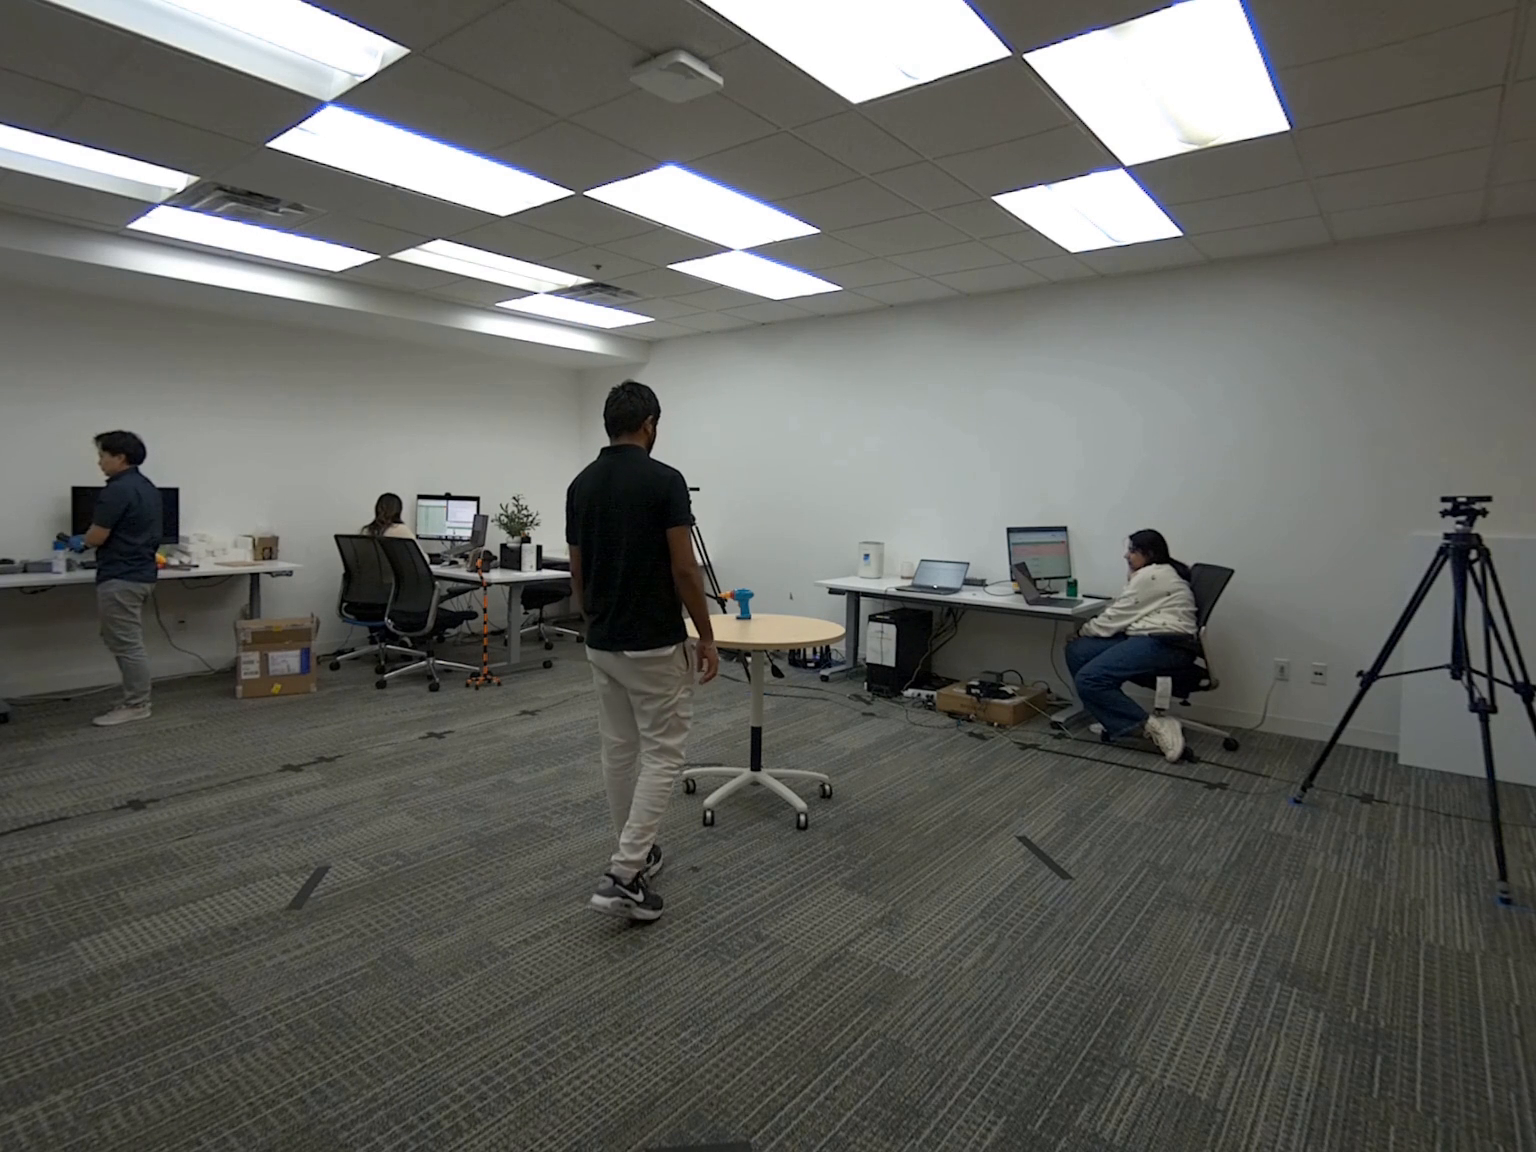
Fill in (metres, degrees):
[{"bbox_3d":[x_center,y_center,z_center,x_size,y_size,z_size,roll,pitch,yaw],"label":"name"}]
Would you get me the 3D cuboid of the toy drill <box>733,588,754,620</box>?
[{"bbox_3d":[-0.164,0.124,3.984,0.168,0.145,0.062,0,5,-8],"label":"toy drill"}]
